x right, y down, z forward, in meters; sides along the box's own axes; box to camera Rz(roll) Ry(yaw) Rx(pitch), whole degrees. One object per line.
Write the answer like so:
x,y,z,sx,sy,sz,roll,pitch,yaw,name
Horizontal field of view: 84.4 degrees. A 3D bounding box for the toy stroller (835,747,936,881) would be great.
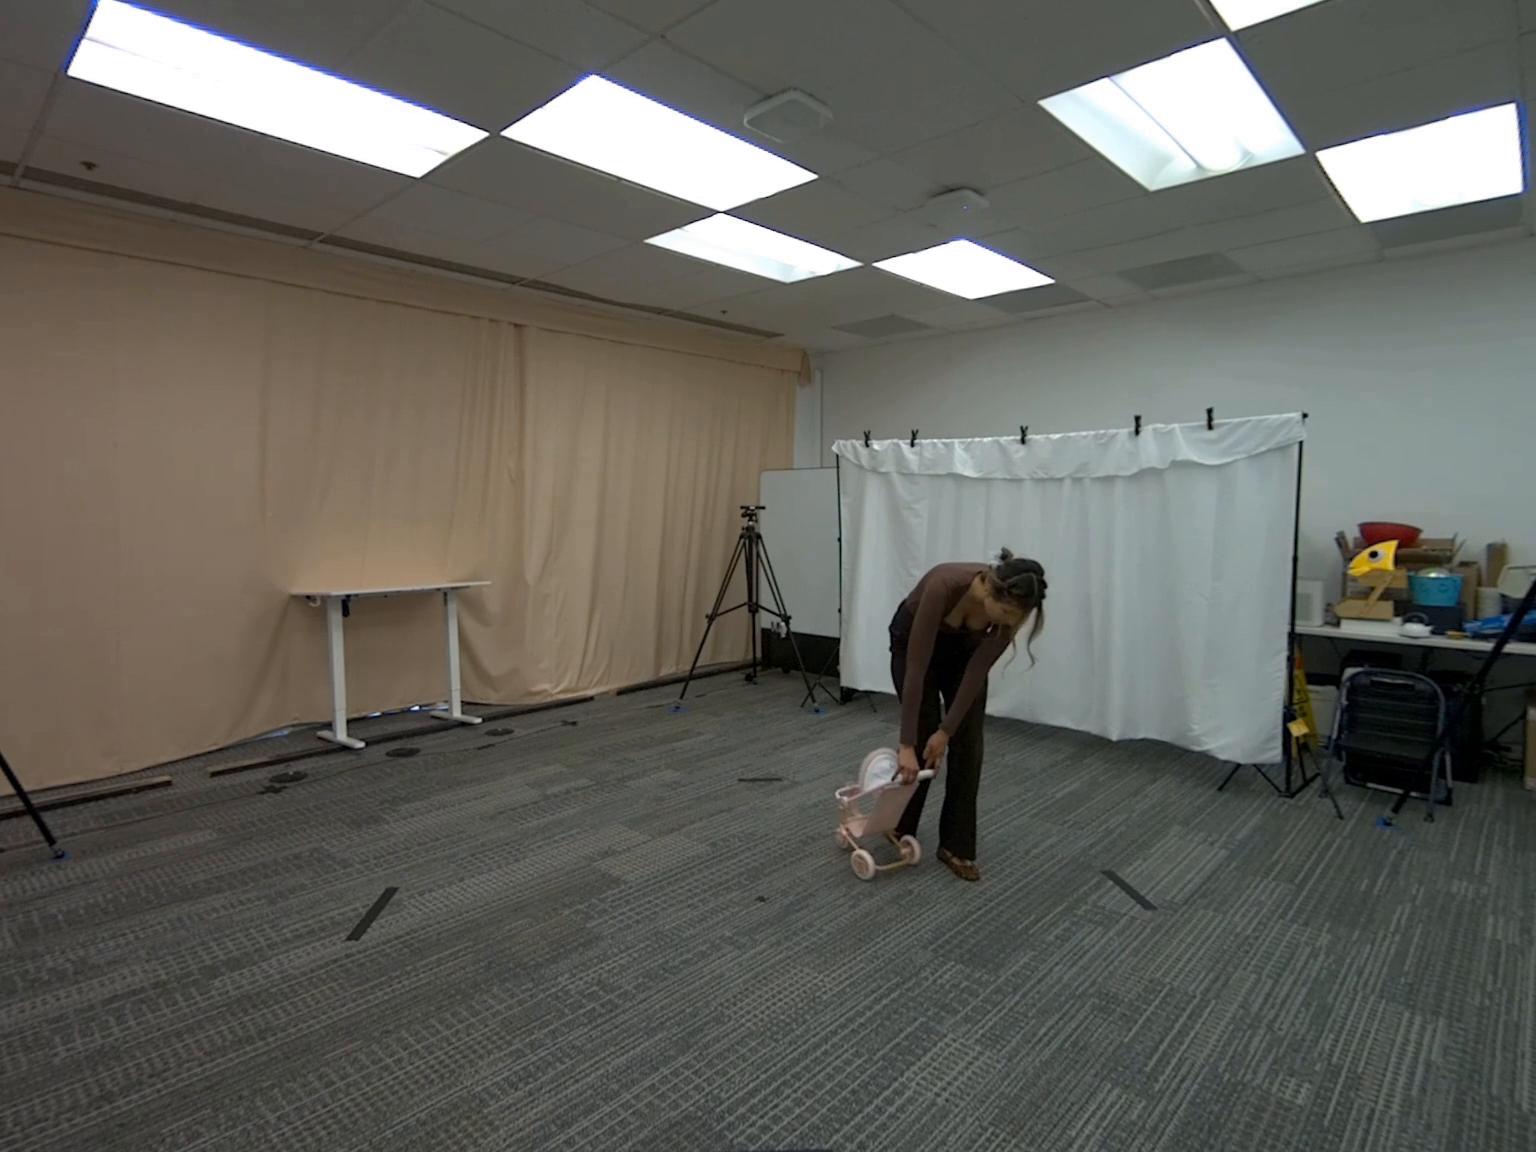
0.423,0.896,3.248,0.274,0.531,0.353,0,20,-31,toy stroller
